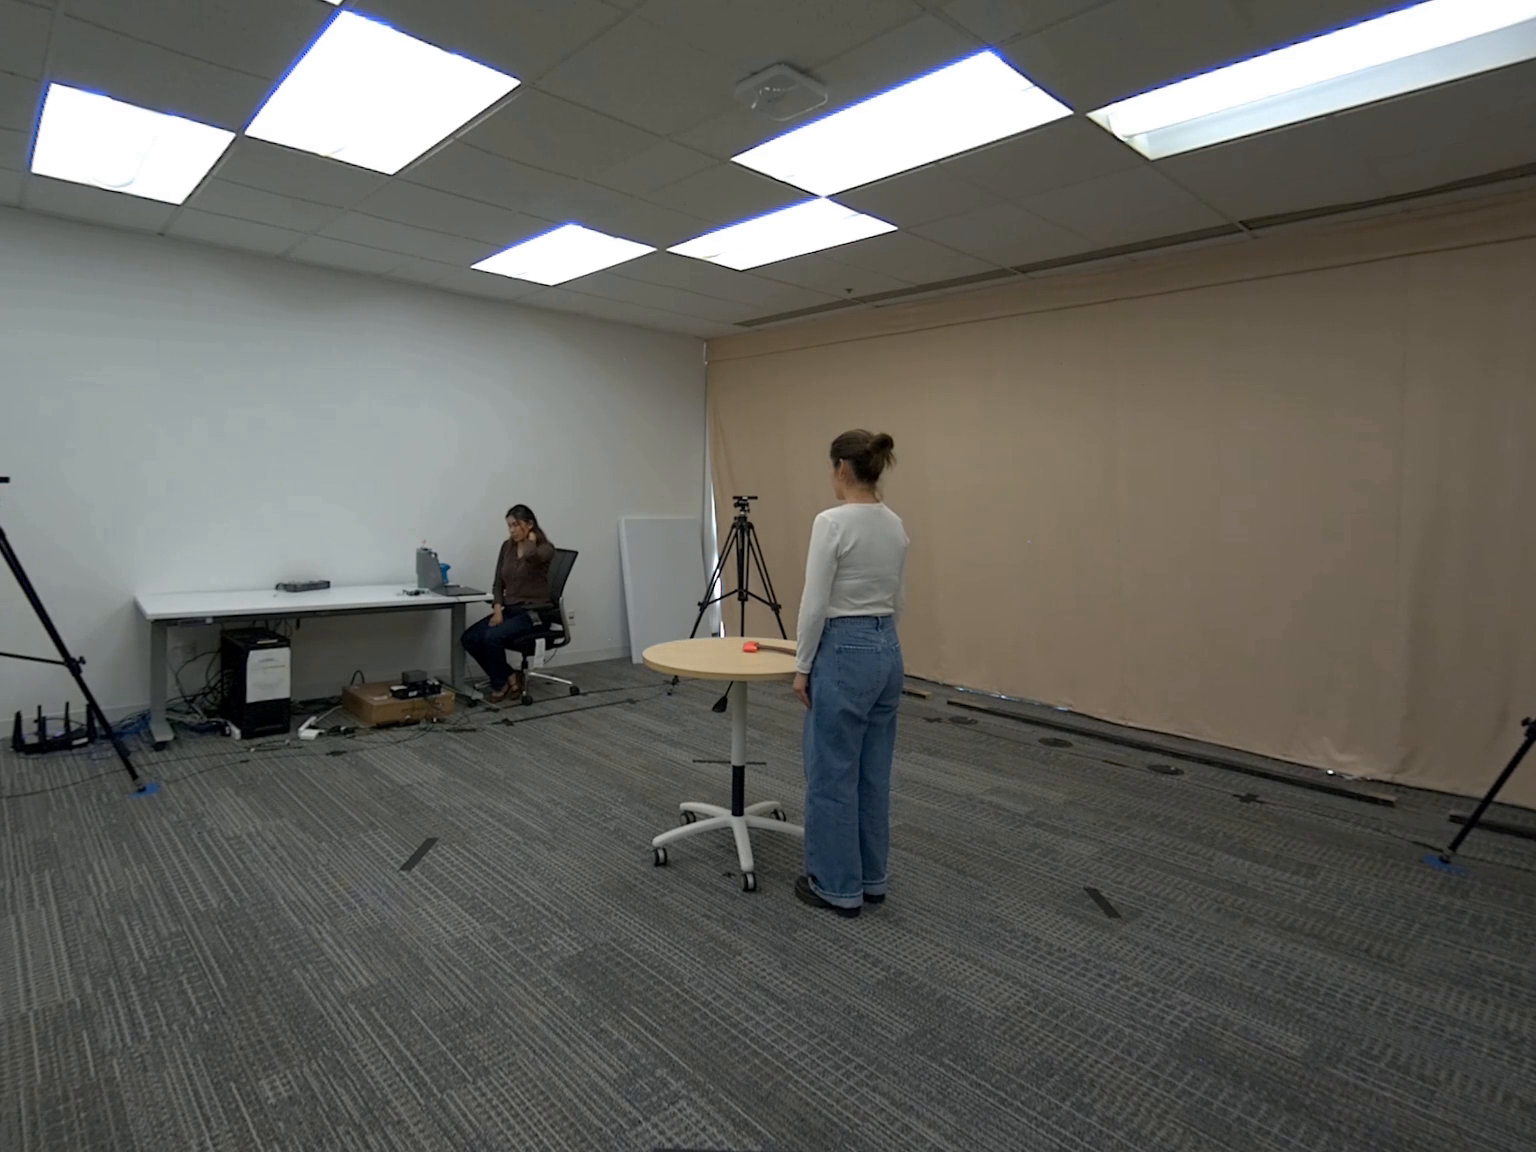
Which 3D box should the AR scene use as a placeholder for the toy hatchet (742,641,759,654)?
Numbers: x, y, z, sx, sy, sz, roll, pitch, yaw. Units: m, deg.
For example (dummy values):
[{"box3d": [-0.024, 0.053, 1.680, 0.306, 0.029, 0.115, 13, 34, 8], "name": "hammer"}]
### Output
[{"box3d": [0.007, 0.292, 3.302, 0.128, 0.029, 0.277, -7, 10, -44], "name": "toy hatchet"}]
